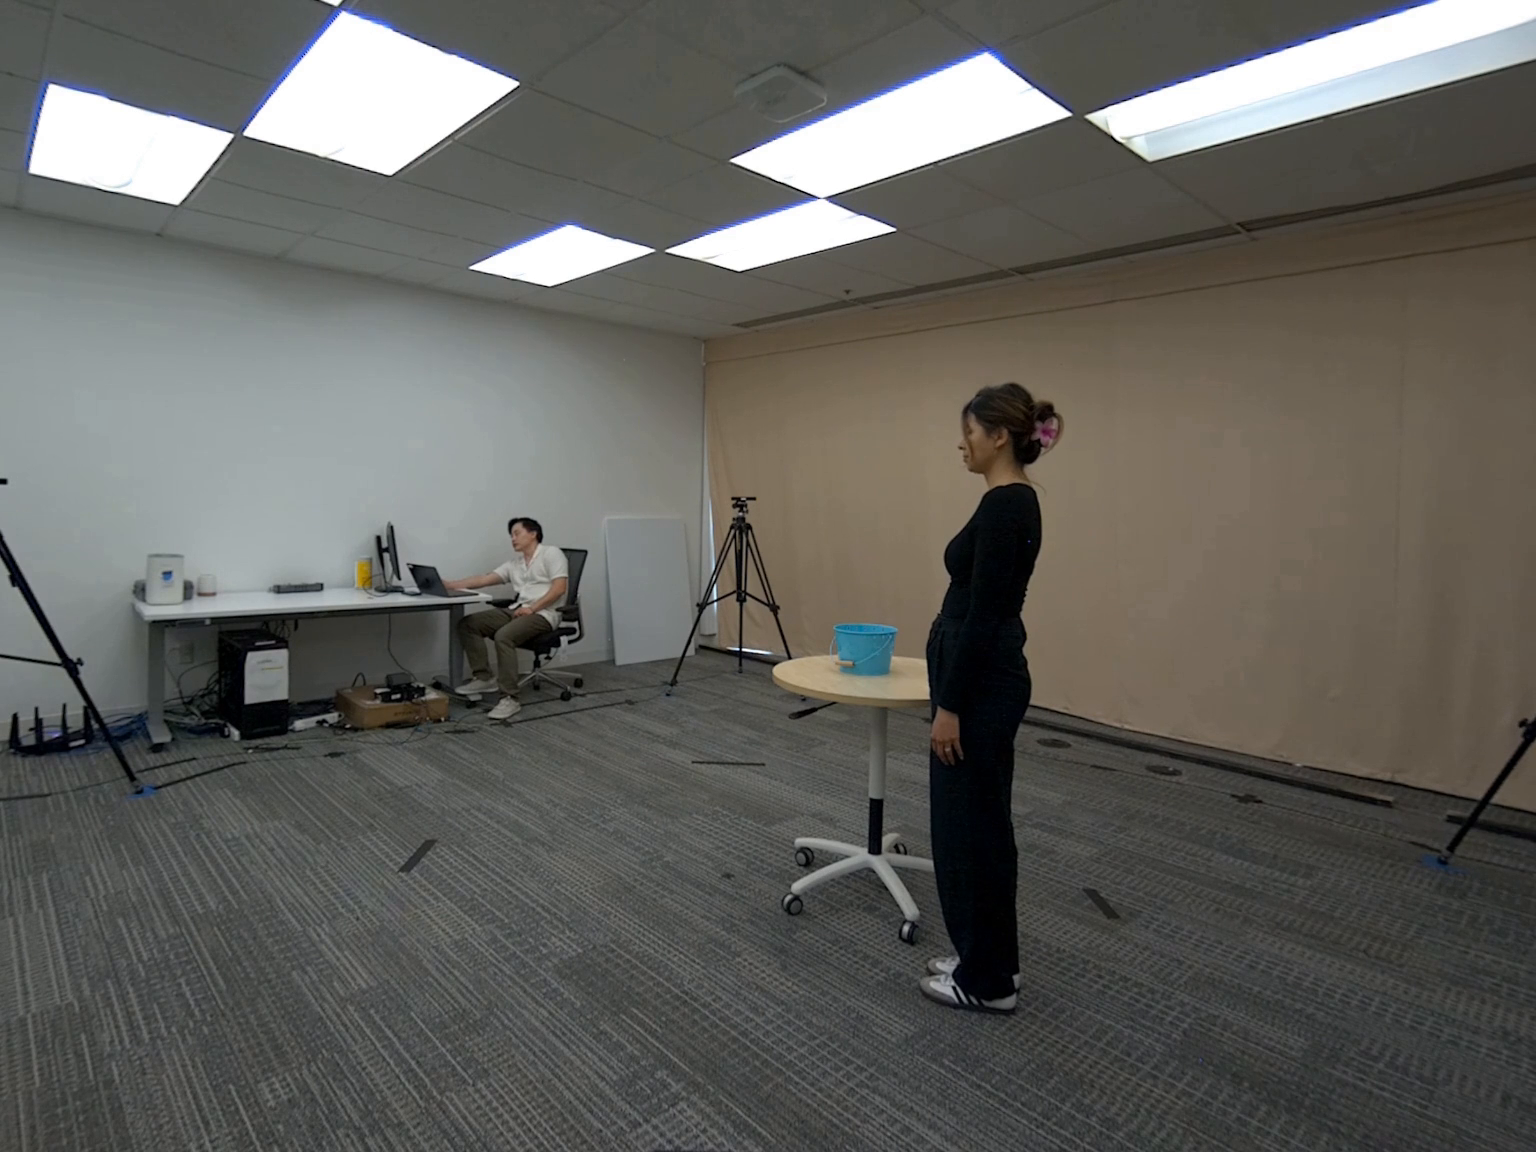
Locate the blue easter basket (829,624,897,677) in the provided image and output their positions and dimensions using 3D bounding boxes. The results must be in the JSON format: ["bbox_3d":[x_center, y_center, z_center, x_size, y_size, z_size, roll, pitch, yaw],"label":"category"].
[{"bbox_3d":[0.343,0.270,3.040,0.243,0.155,0.244,1,4,-1],"label":"blue easter basket"}]
